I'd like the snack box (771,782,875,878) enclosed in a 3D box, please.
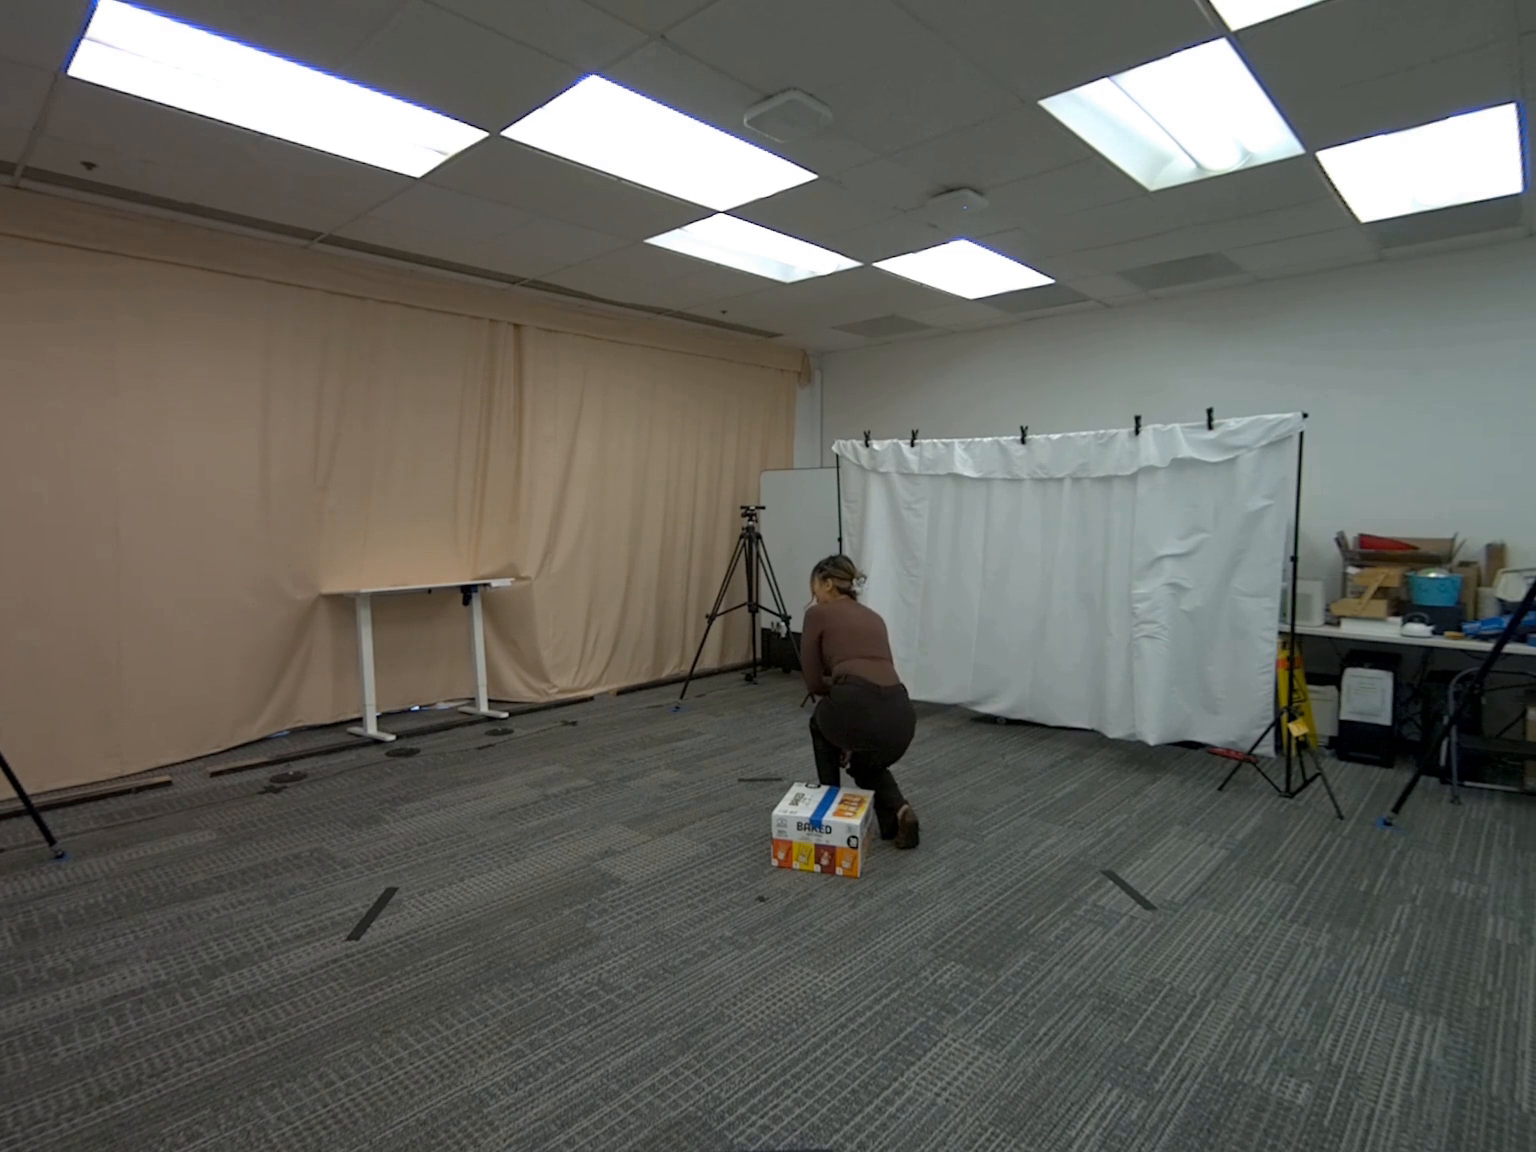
[{"bbox_3d":[0.231,1.008,3.381,0.347,0.205,0.398,1,4,17],"label":"snack box"}]
